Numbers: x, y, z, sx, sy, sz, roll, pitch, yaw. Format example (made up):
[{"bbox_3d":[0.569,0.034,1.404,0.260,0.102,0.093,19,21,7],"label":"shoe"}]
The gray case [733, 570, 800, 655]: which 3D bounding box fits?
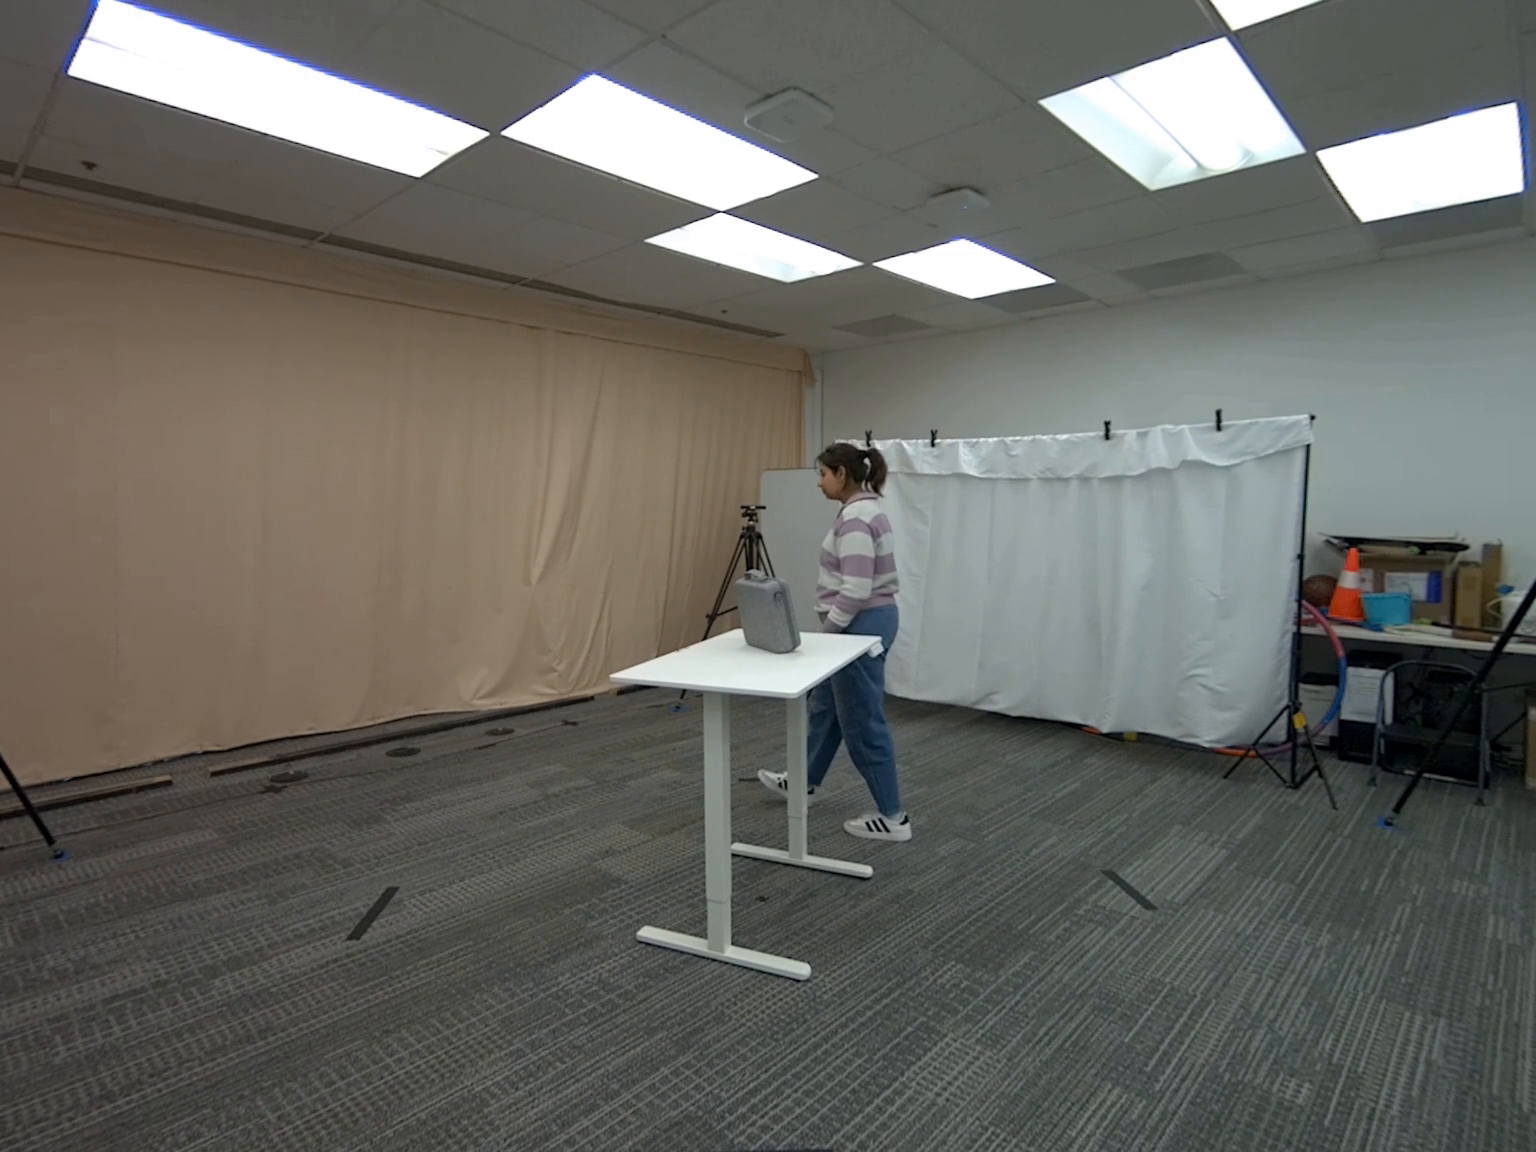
[{"bbox_3d":[-0.001,0.129,2.979,0.102,0.259,0.263,-14,10,-24],"label":"gray case"}]
